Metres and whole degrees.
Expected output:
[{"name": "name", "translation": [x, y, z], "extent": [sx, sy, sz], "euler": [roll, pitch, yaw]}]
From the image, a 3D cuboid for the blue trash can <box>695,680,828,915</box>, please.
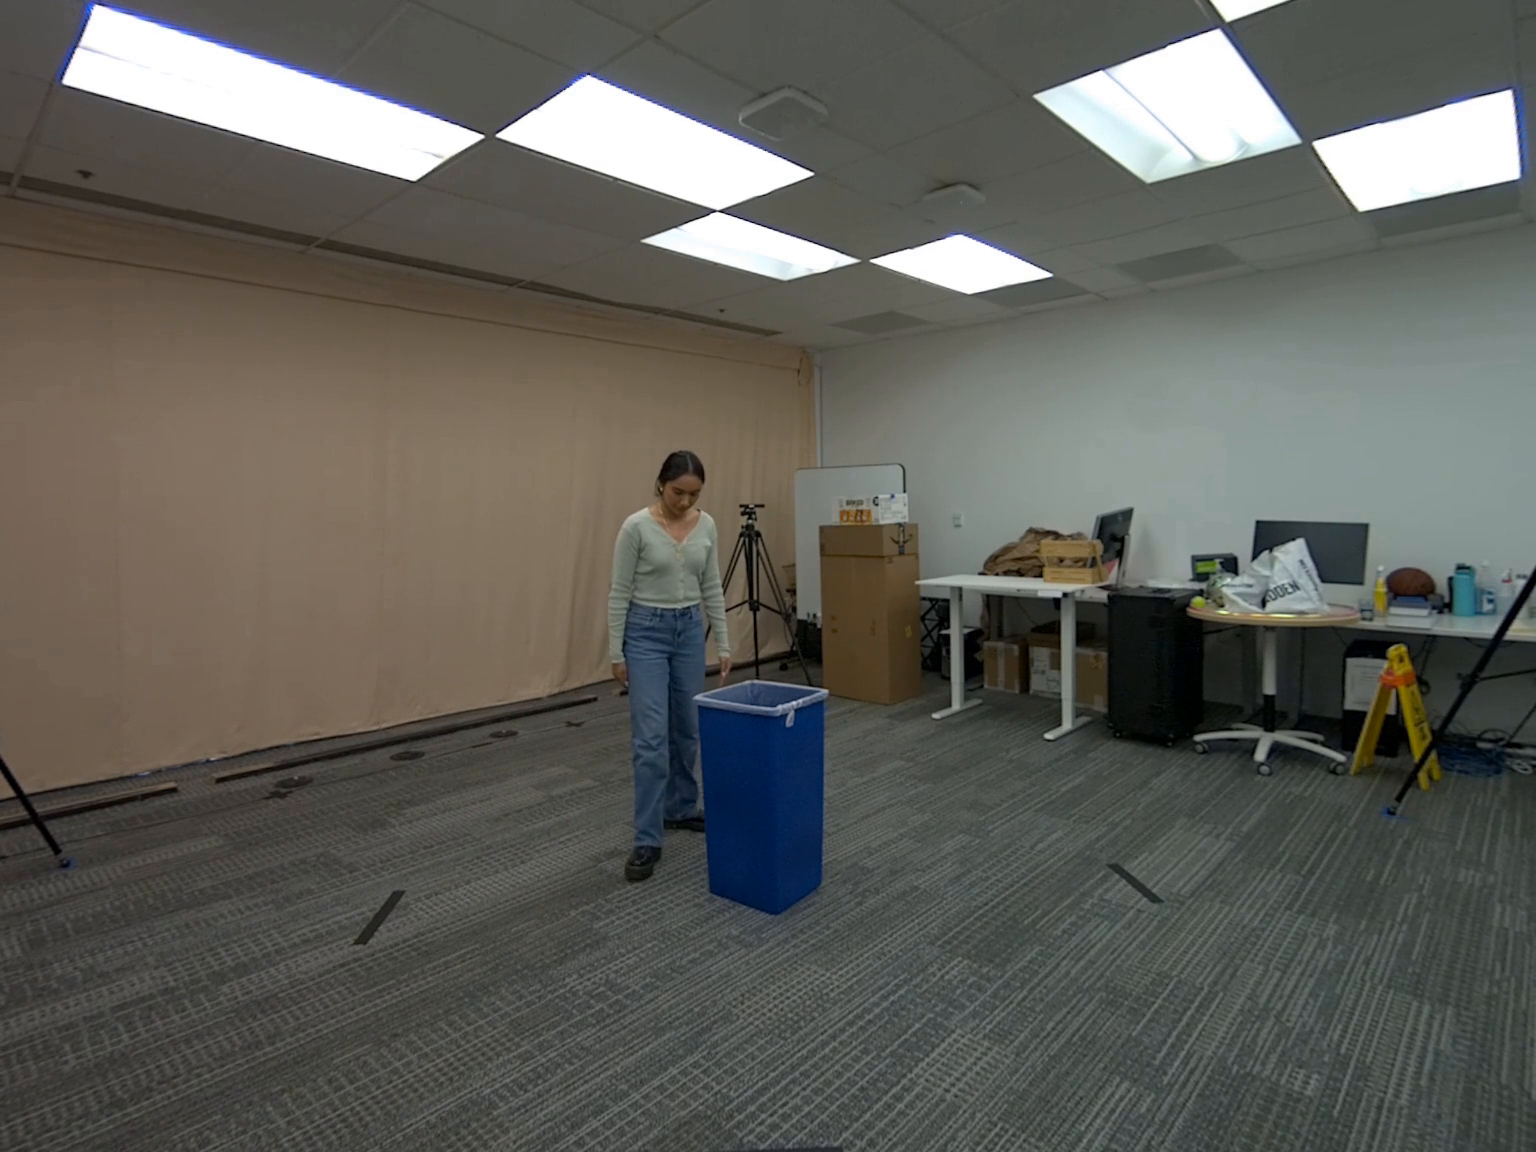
[{"name": "blue trash can", "translation": [-0.019, 0.775, 3.035], "extent": [0.386, 0.712, 0.367], "euler": [2, 4, 37]}]
